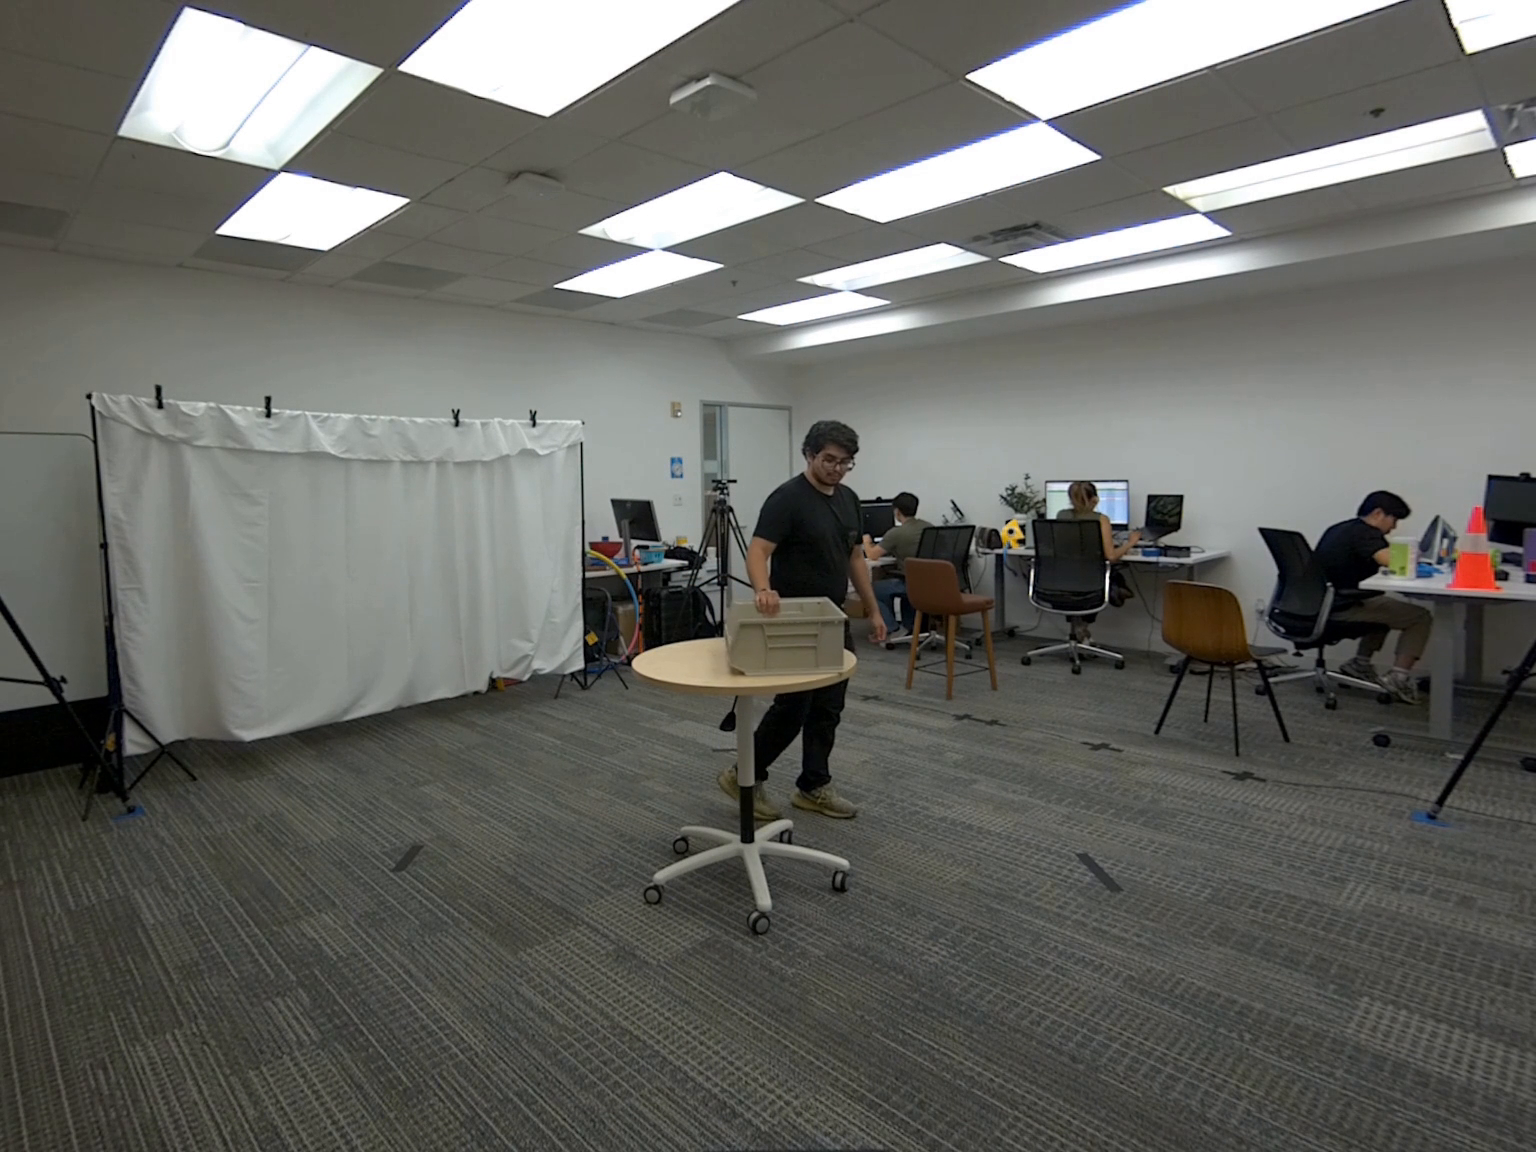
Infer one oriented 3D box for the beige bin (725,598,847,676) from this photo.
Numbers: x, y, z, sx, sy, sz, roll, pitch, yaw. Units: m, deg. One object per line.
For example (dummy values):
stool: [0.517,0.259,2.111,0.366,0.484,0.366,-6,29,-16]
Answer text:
beige bin: [0.045,0.195,2.880,0.376,0.188,0.425,-2,5,-4]
